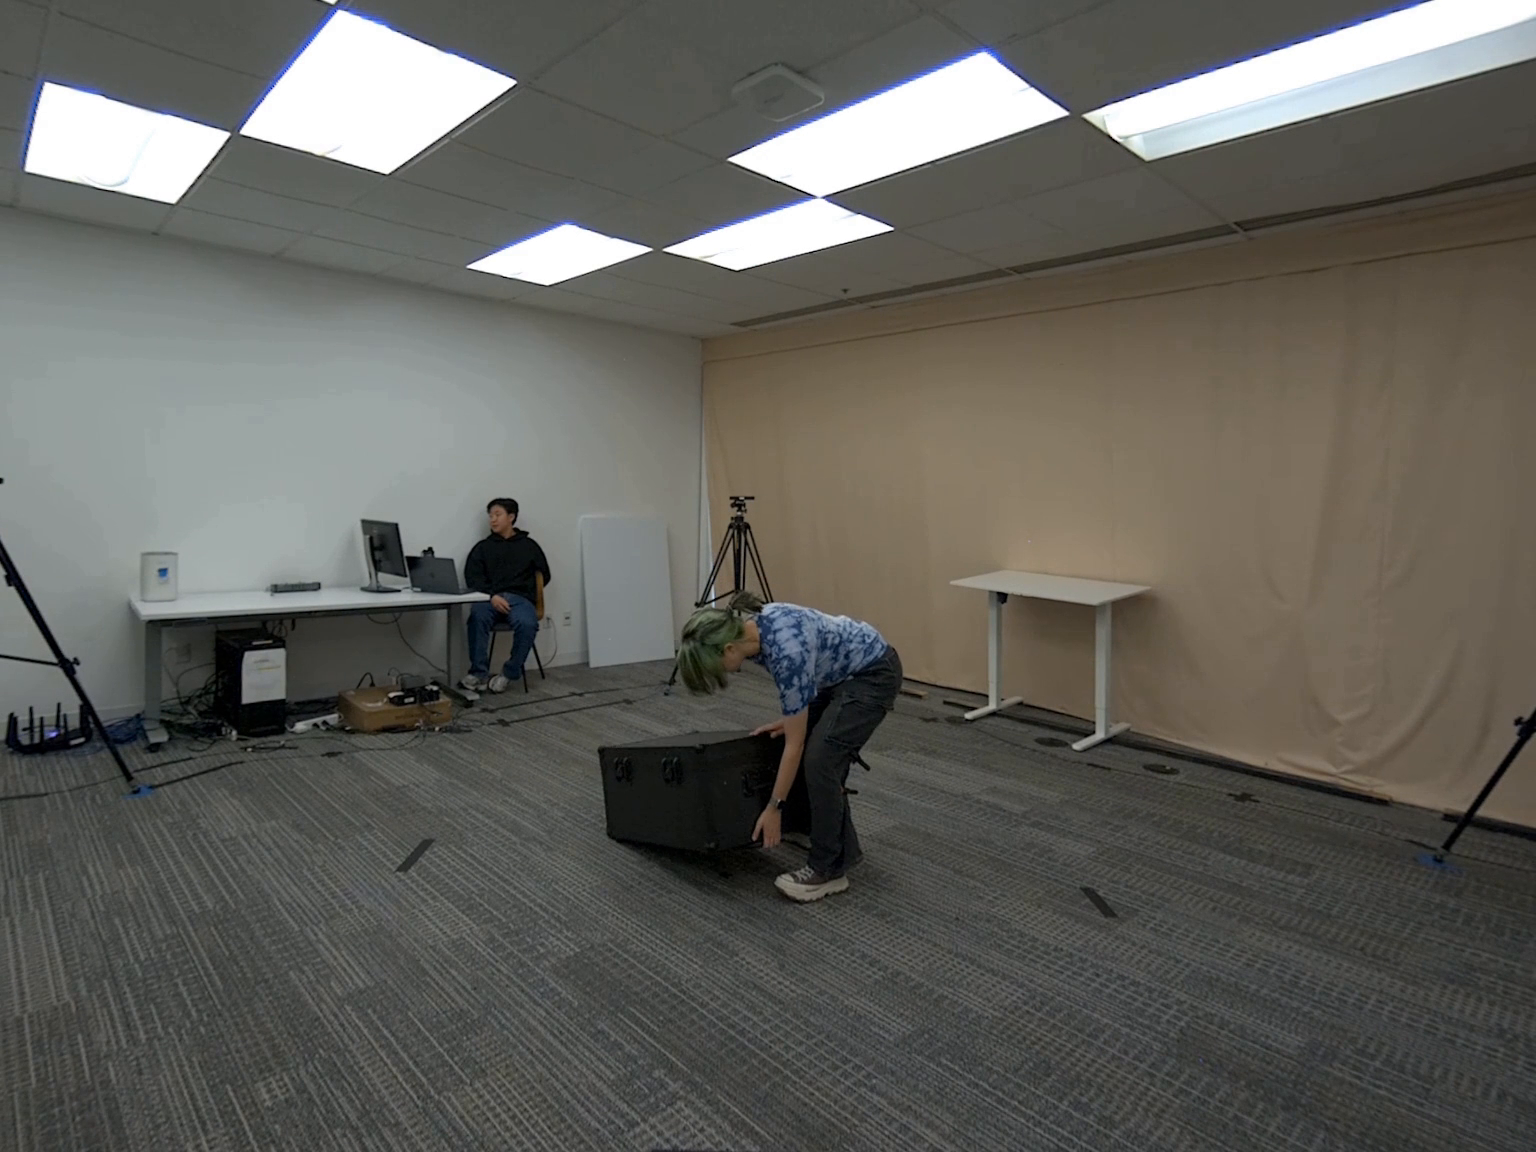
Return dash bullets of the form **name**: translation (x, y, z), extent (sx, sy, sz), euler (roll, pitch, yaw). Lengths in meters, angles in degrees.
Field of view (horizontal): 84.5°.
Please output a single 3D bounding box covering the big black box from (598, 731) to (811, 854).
- **big black box**: translation (-0.283, 0.829, 3.299), extent (0.510, 0.399, 0.875), euler (-2, -8, -36)
